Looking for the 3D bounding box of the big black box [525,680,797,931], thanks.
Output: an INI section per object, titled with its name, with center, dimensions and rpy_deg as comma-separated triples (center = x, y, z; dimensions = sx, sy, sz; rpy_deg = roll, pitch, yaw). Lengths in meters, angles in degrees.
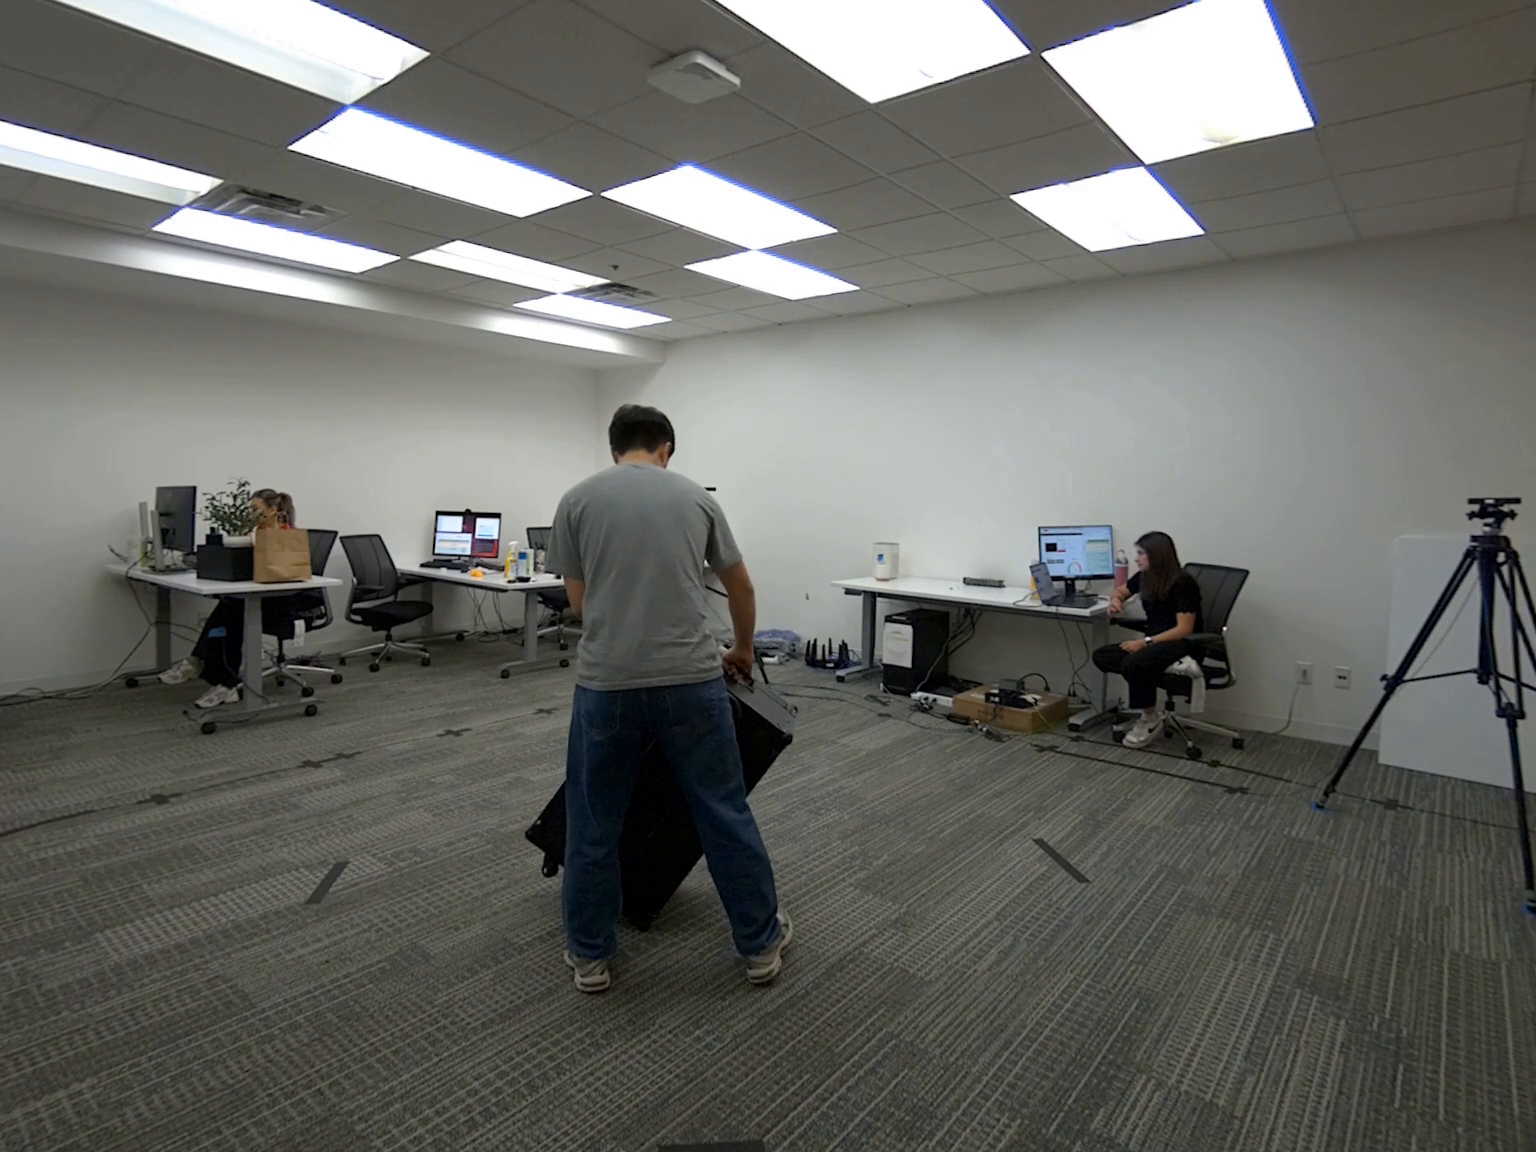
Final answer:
[big black box]
center = -0.364, 0.668, 2.786
dimensions = 0.525, 0.860, 0.394
rpy_deg = 37, 8, 3
